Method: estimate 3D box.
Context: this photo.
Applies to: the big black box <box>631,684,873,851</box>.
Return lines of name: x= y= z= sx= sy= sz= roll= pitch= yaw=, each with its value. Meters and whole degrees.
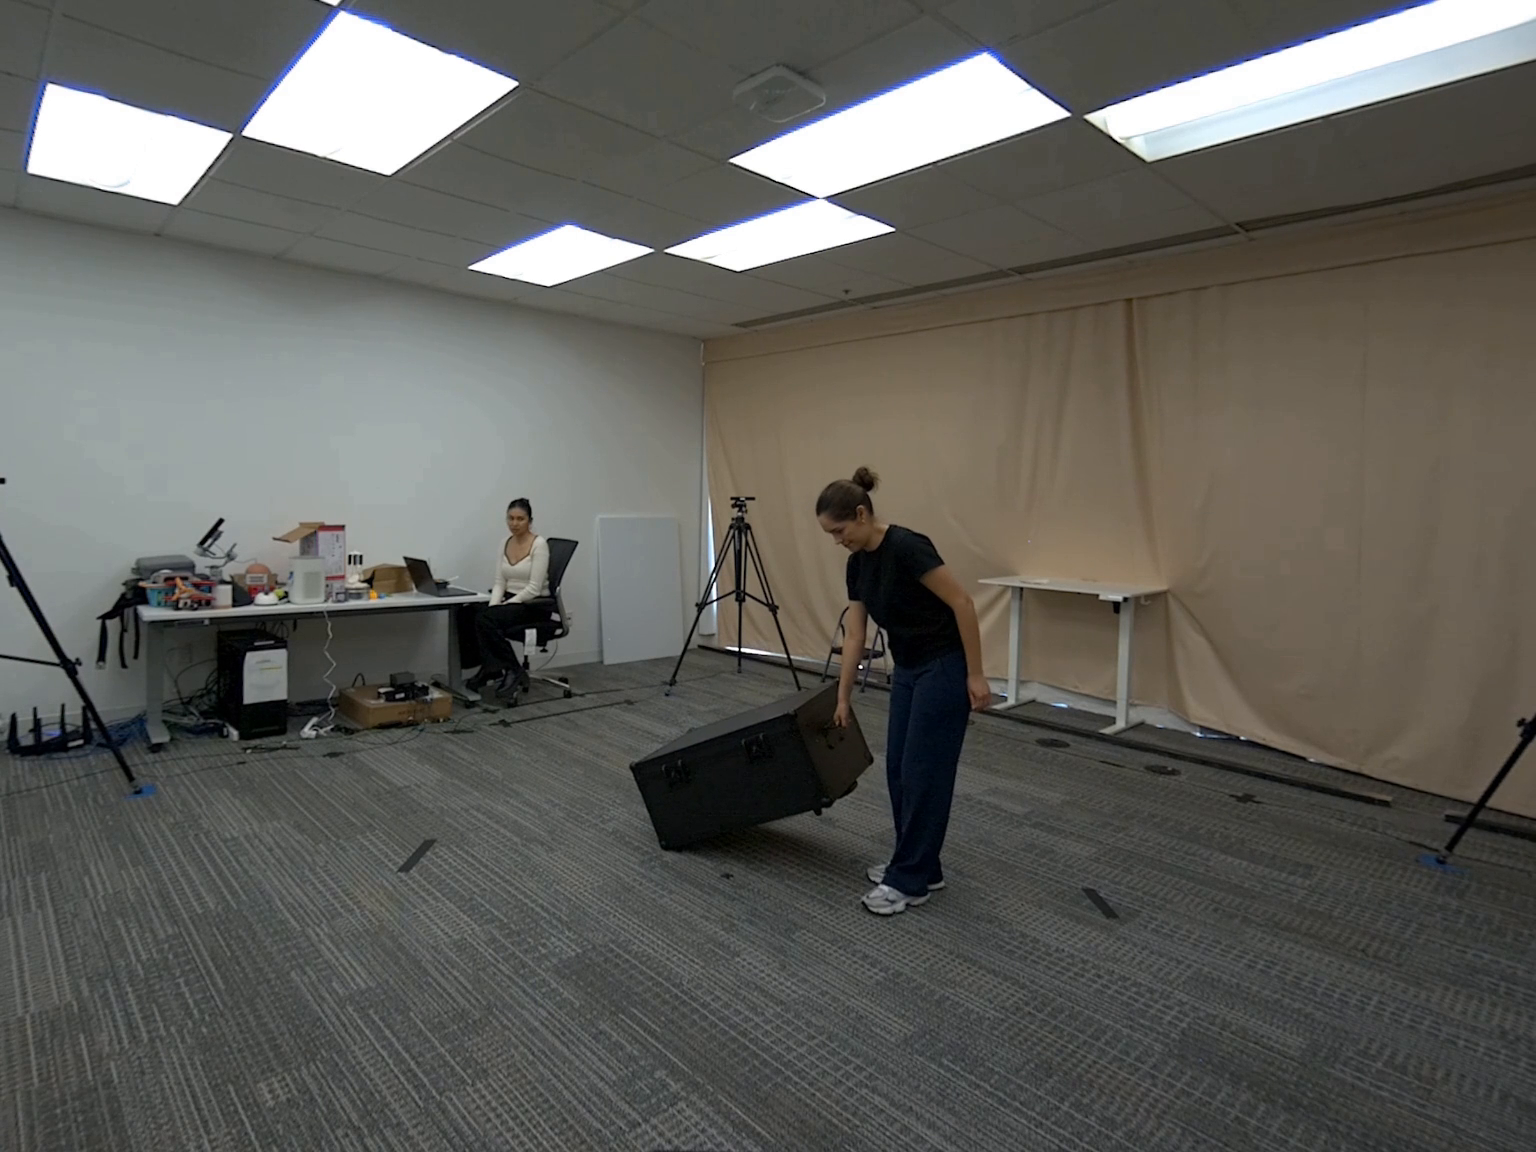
big black box: x=-0.090 y=0.770 z=3.366 sx=0.870 sy=0.398 sz=0.513 roll=-24 pitch=-5 yaw=27
